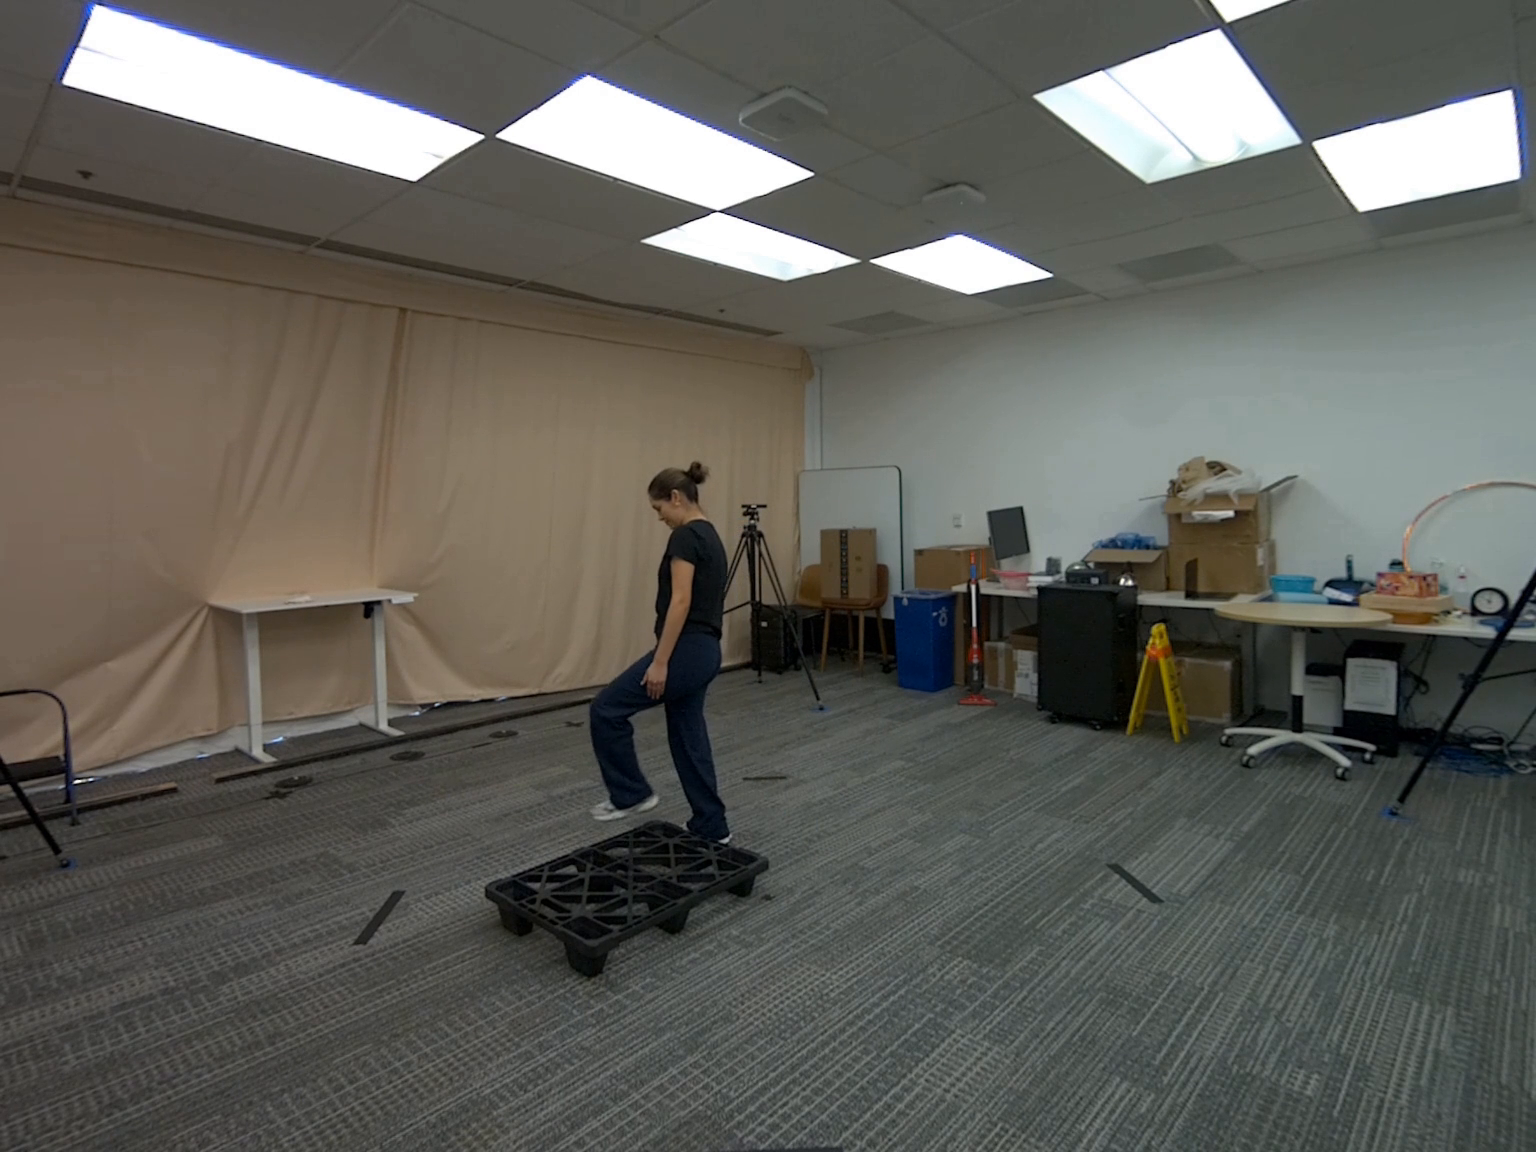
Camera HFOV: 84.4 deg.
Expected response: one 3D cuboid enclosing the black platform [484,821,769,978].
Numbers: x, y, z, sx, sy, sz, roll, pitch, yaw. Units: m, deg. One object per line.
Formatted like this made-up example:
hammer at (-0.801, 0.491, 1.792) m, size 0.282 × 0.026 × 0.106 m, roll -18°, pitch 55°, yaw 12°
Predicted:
black platform at (-0.455, 1.089, 2.912) m, size 0.625 × 0.143 × 0.781 m, roll 4°, pitch 7°, yaw 42°
